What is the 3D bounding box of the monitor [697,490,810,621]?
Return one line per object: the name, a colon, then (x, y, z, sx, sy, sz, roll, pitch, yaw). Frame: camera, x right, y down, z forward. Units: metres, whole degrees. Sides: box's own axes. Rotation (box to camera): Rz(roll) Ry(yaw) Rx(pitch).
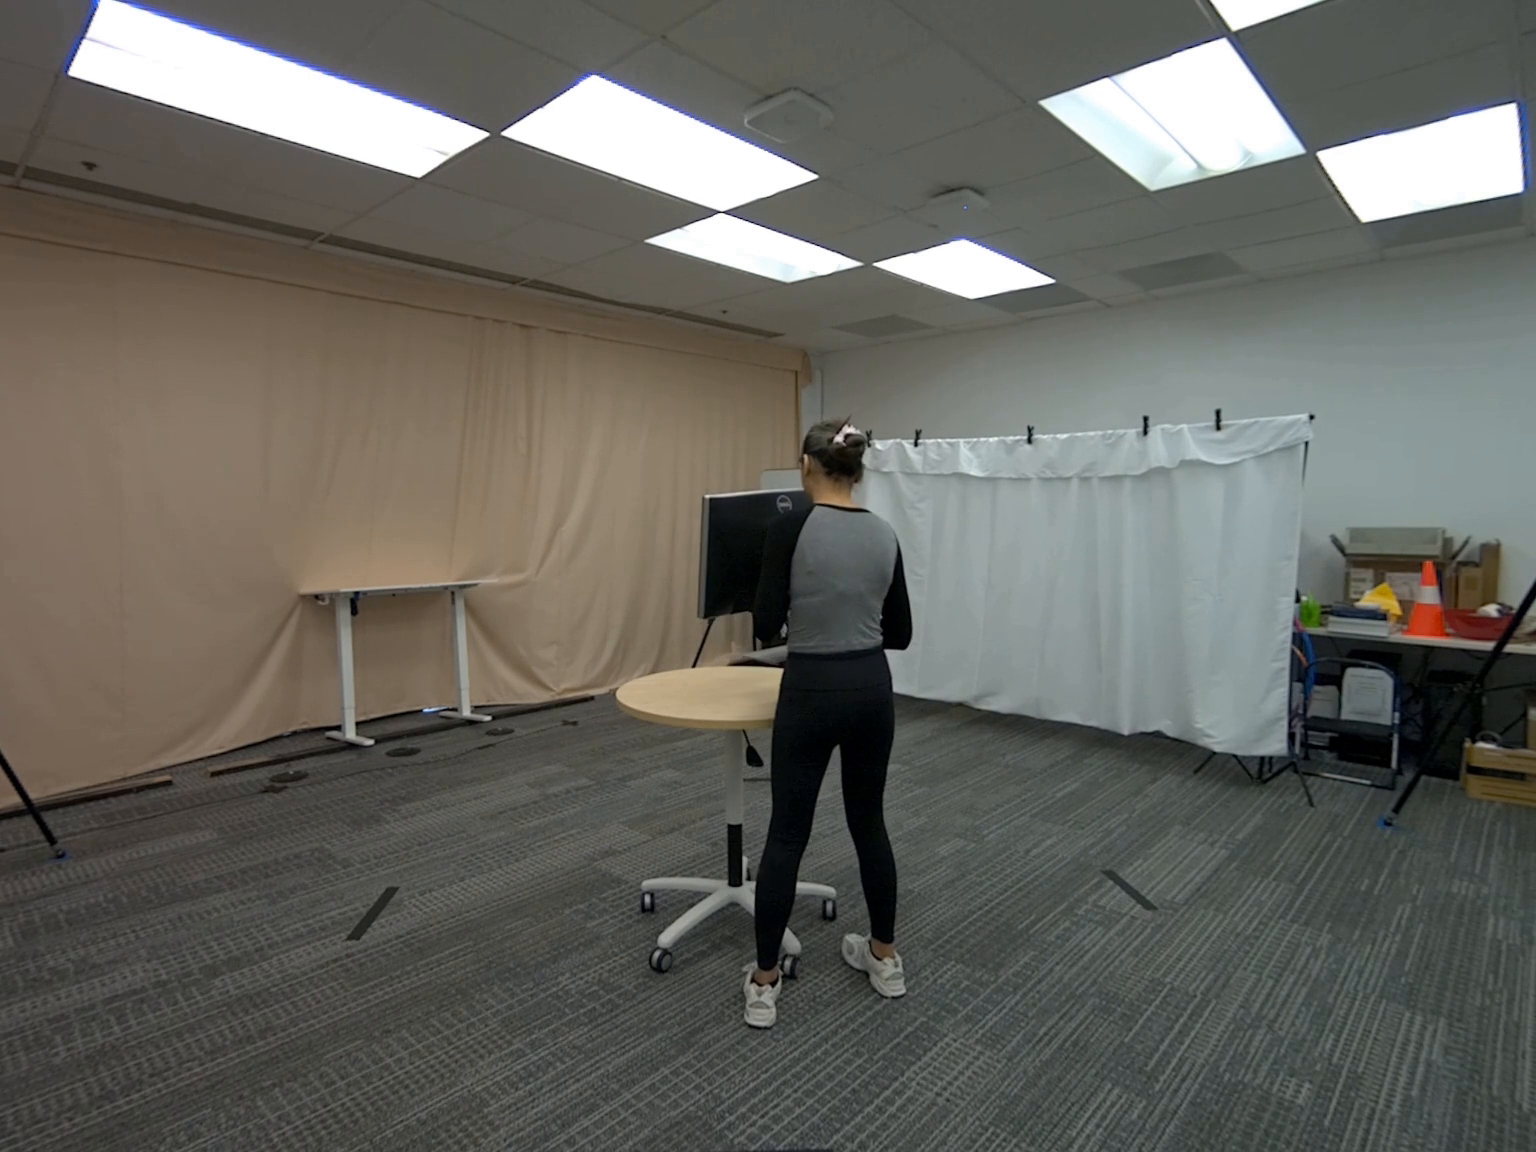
monitor: (0.048, -0.001, 2.547, 0.523, 0.521, 0.193, -8, 5, -41)
